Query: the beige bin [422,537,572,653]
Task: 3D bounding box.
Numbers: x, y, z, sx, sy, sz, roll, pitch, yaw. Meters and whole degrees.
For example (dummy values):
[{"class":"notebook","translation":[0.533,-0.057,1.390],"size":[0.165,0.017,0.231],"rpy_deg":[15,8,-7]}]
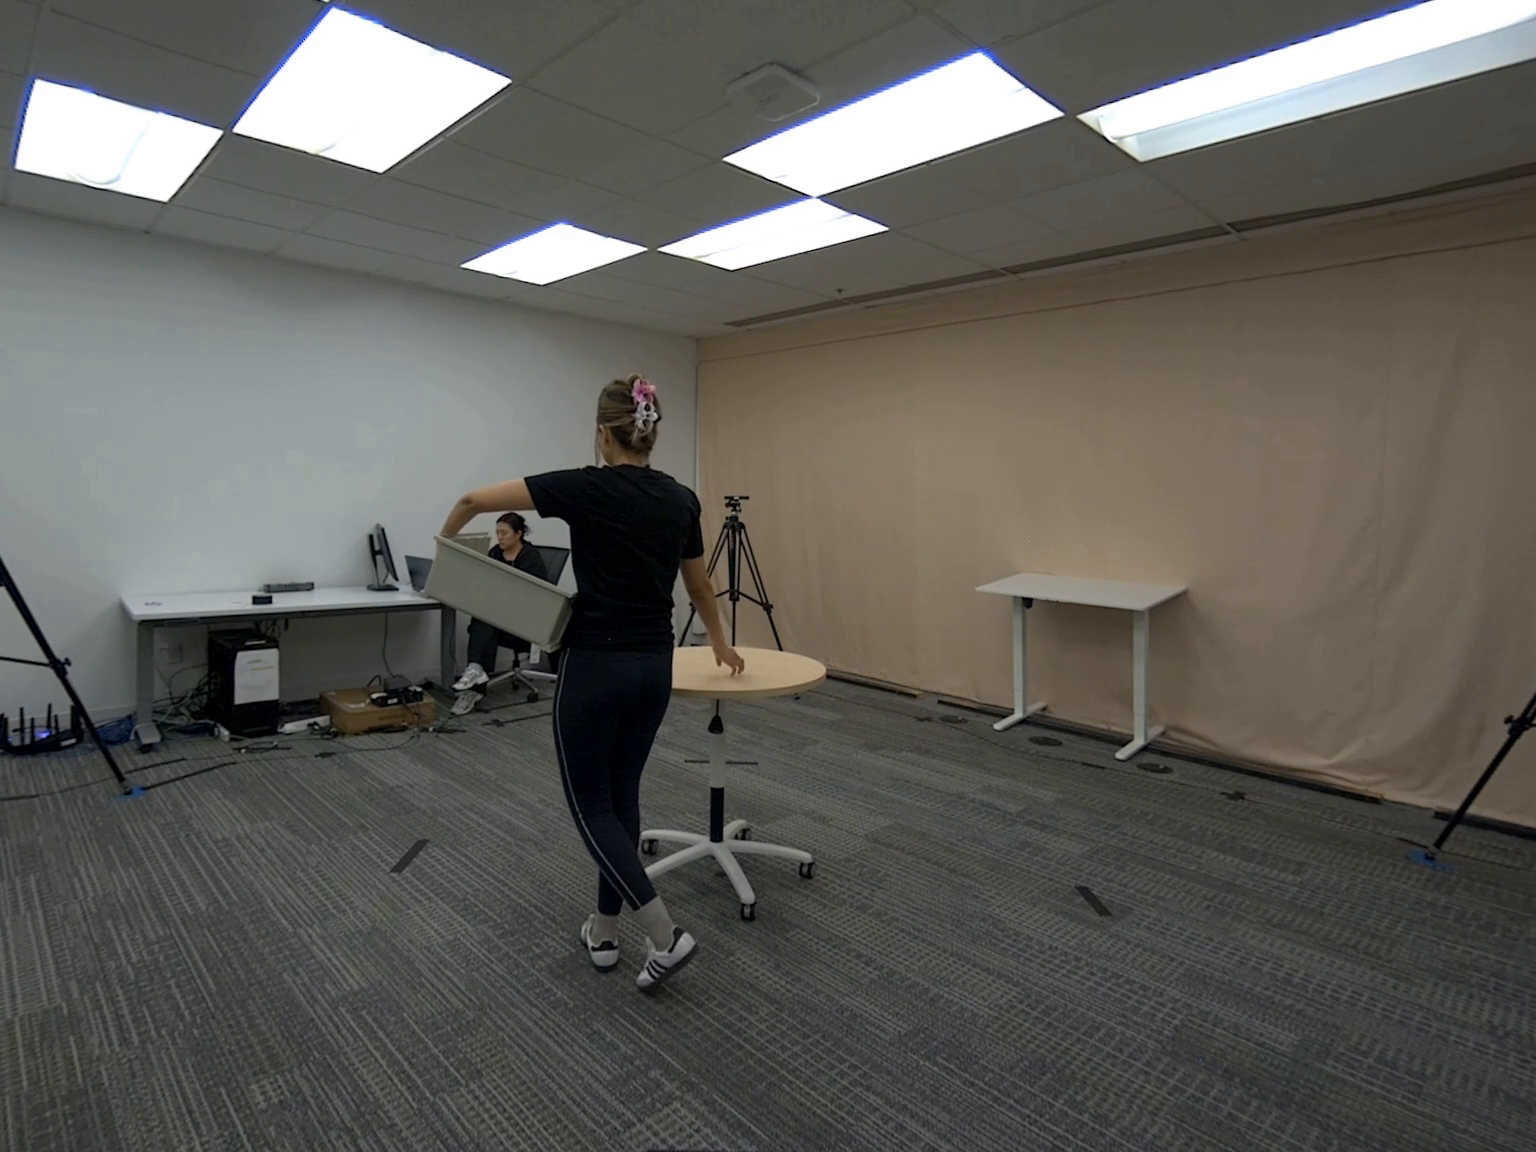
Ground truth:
[{"class":"beige bin","translation":[-0.732,0.038,2.474],"size":[0.426,0.188,0.375],"rpy_deg":[23,8,7]}]
